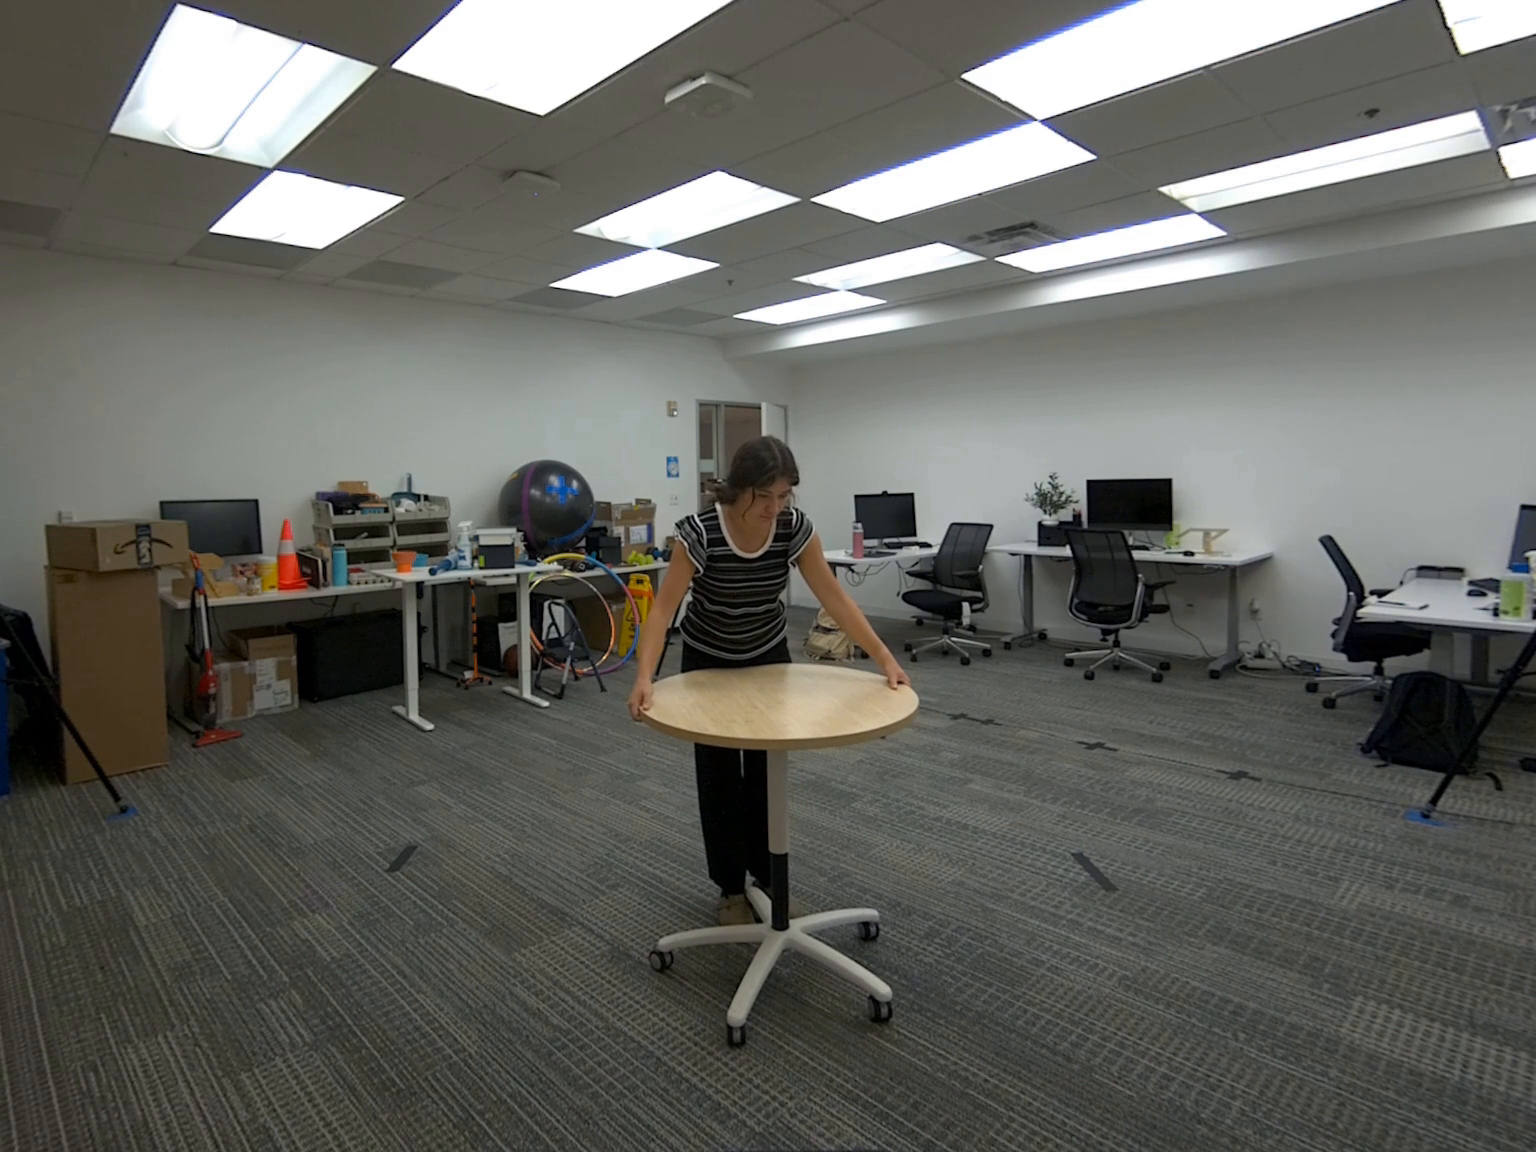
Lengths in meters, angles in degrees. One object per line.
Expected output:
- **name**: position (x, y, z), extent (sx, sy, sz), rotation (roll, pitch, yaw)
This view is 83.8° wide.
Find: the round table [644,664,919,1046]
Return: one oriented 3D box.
- **round table**: position (0.030, 0.733, 2.376), extent (0.763, 0.790, 0.768), rotation (-1, 6, -2)
